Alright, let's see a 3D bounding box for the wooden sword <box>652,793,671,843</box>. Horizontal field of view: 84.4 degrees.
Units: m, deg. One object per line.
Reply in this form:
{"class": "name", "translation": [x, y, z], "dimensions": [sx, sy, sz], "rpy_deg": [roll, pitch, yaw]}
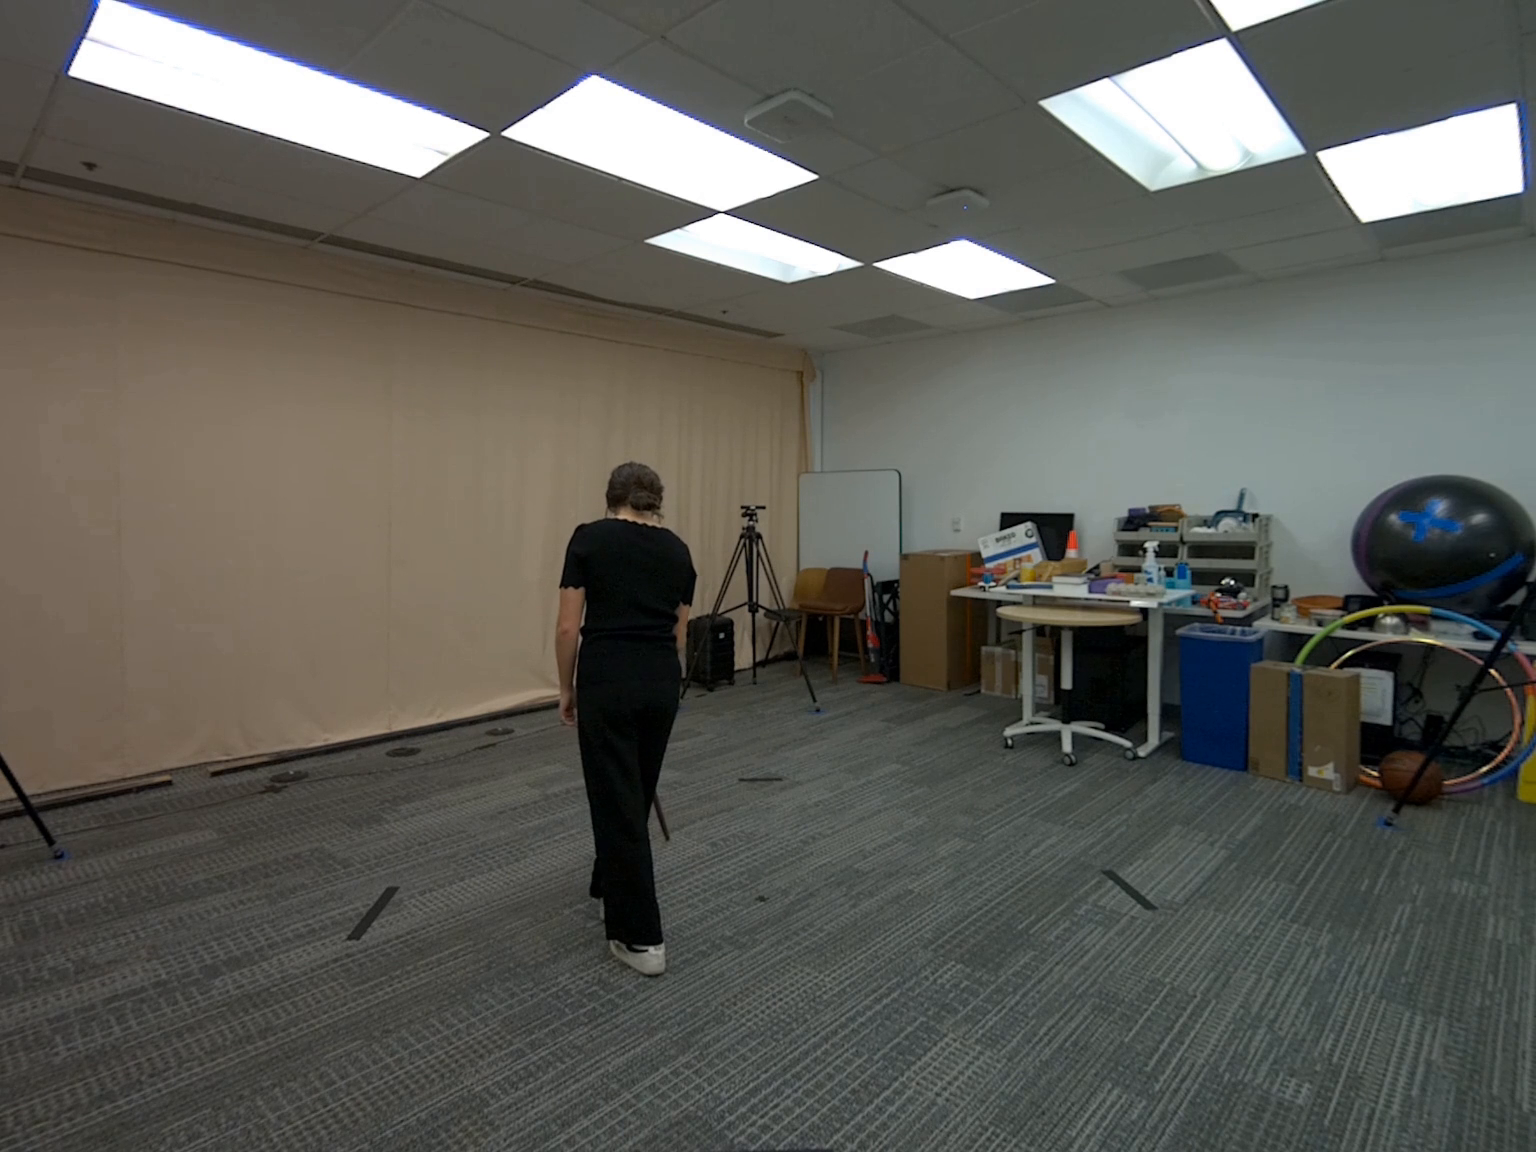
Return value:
{"class": "wooden sword", "translation": [-0.465, 0.744, 3.206], "dimensions": [0.024, 1.002, 0.051], "rpy_deg": [8, 43, 15]}
